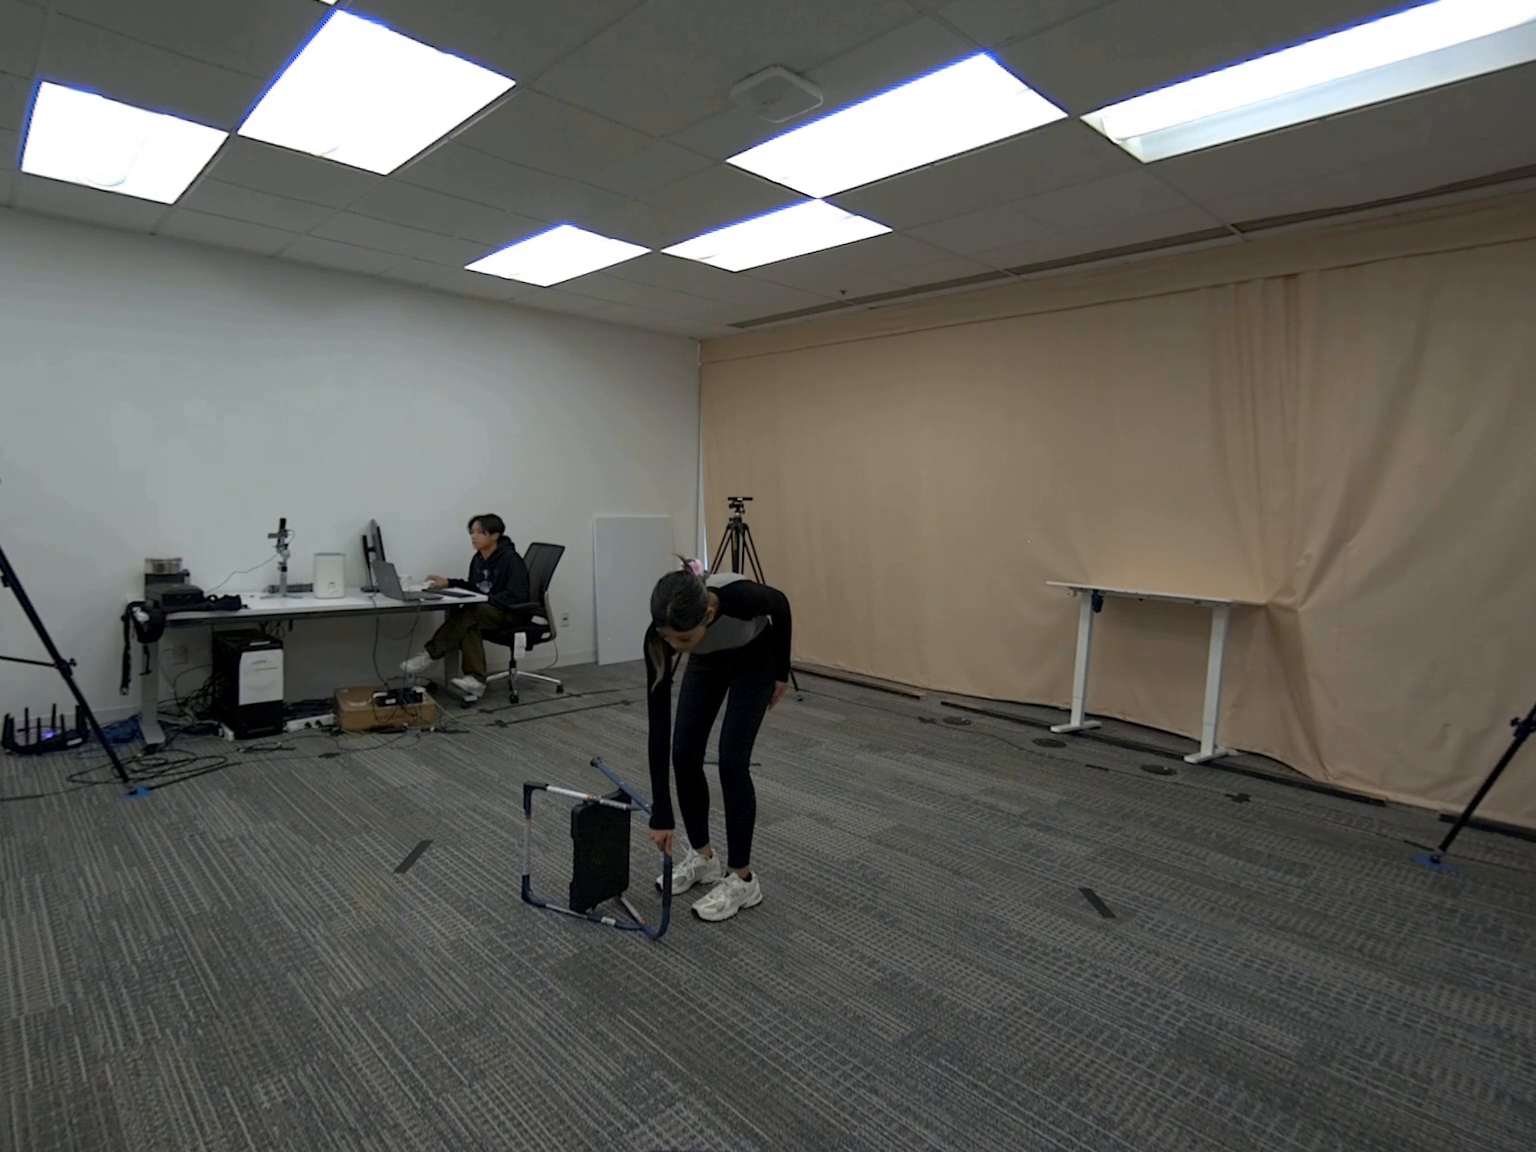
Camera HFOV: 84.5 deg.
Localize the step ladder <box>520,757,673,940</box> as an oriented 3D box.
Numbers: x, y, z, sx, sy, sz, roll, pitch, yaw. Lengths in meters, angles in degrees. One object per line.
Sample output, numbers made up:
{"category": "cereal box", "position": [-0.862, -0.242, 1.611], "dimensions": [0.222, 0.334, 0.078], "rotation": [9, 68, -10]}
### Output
{"category": "step ladder", "position": [-0.506, 0.920, 2.796], "dimensions": [0.621, 0.429, 0.342], "rotation": [6, 7, 39]}
